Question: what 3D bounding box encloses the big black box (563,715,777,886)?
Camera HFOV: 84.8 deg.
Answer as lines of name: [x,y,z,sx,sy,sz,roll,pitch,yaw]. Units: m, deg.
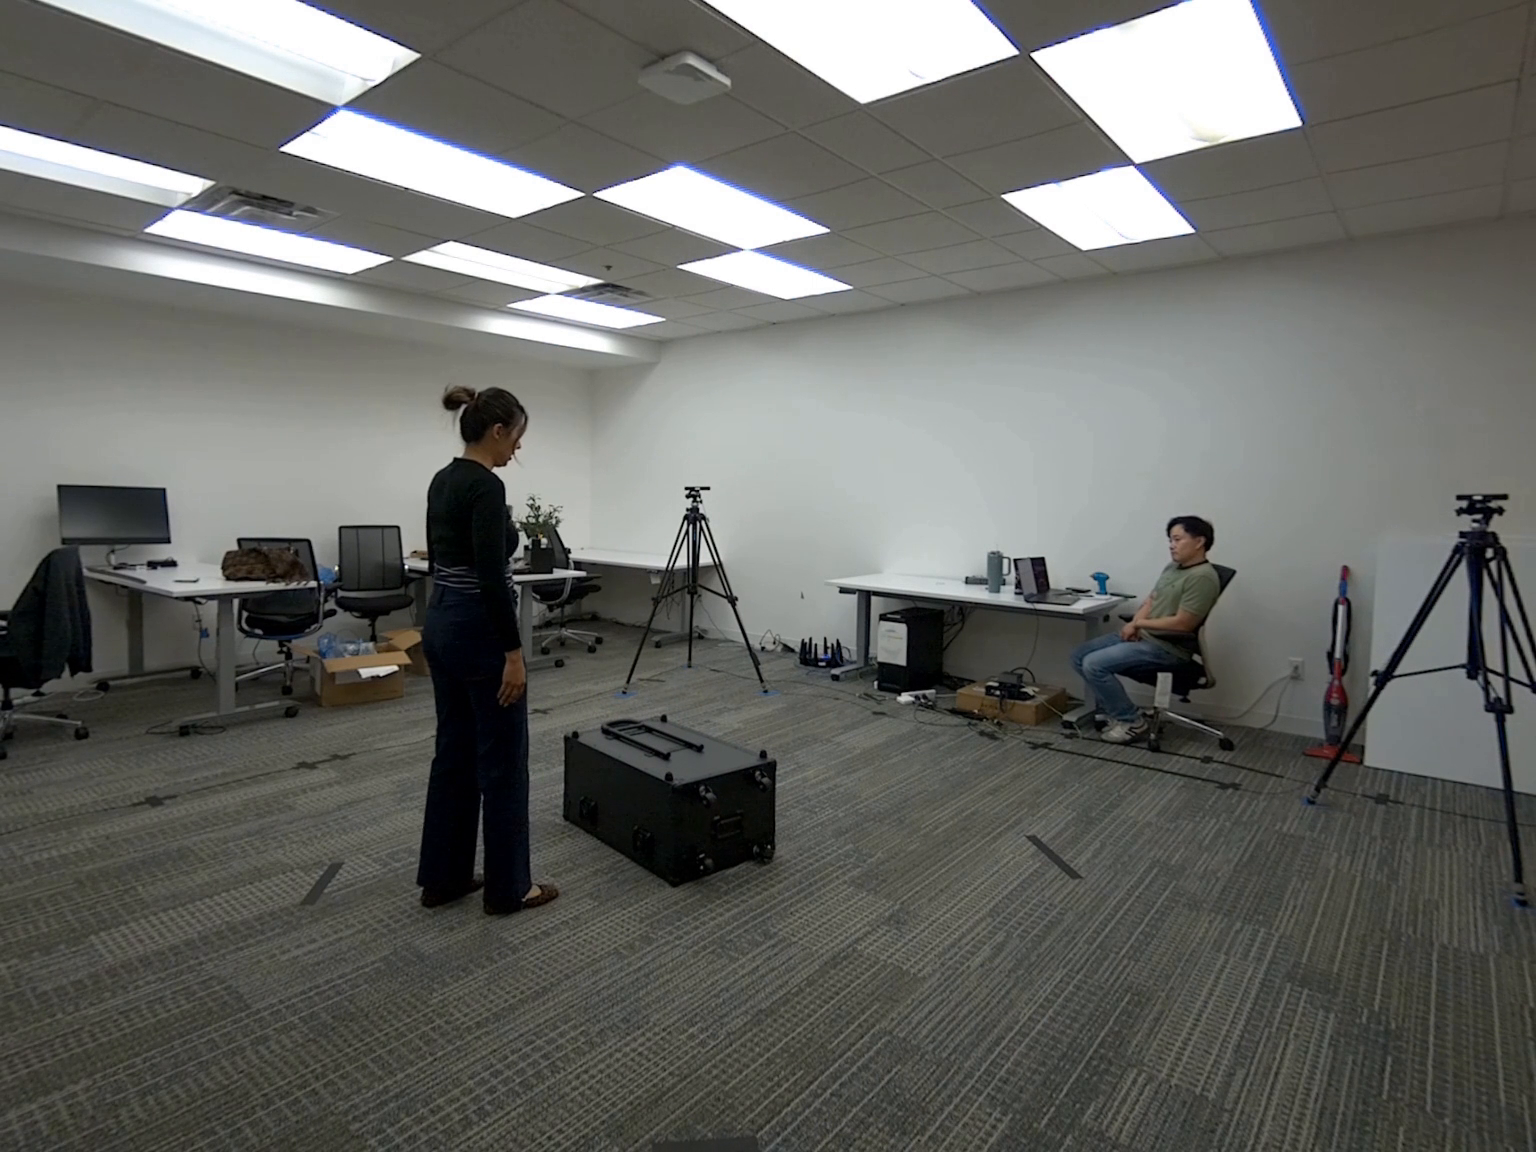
big black box: [-0.439,0.857,3.412,0.506,0.395,0.891,-3,7,-41]
